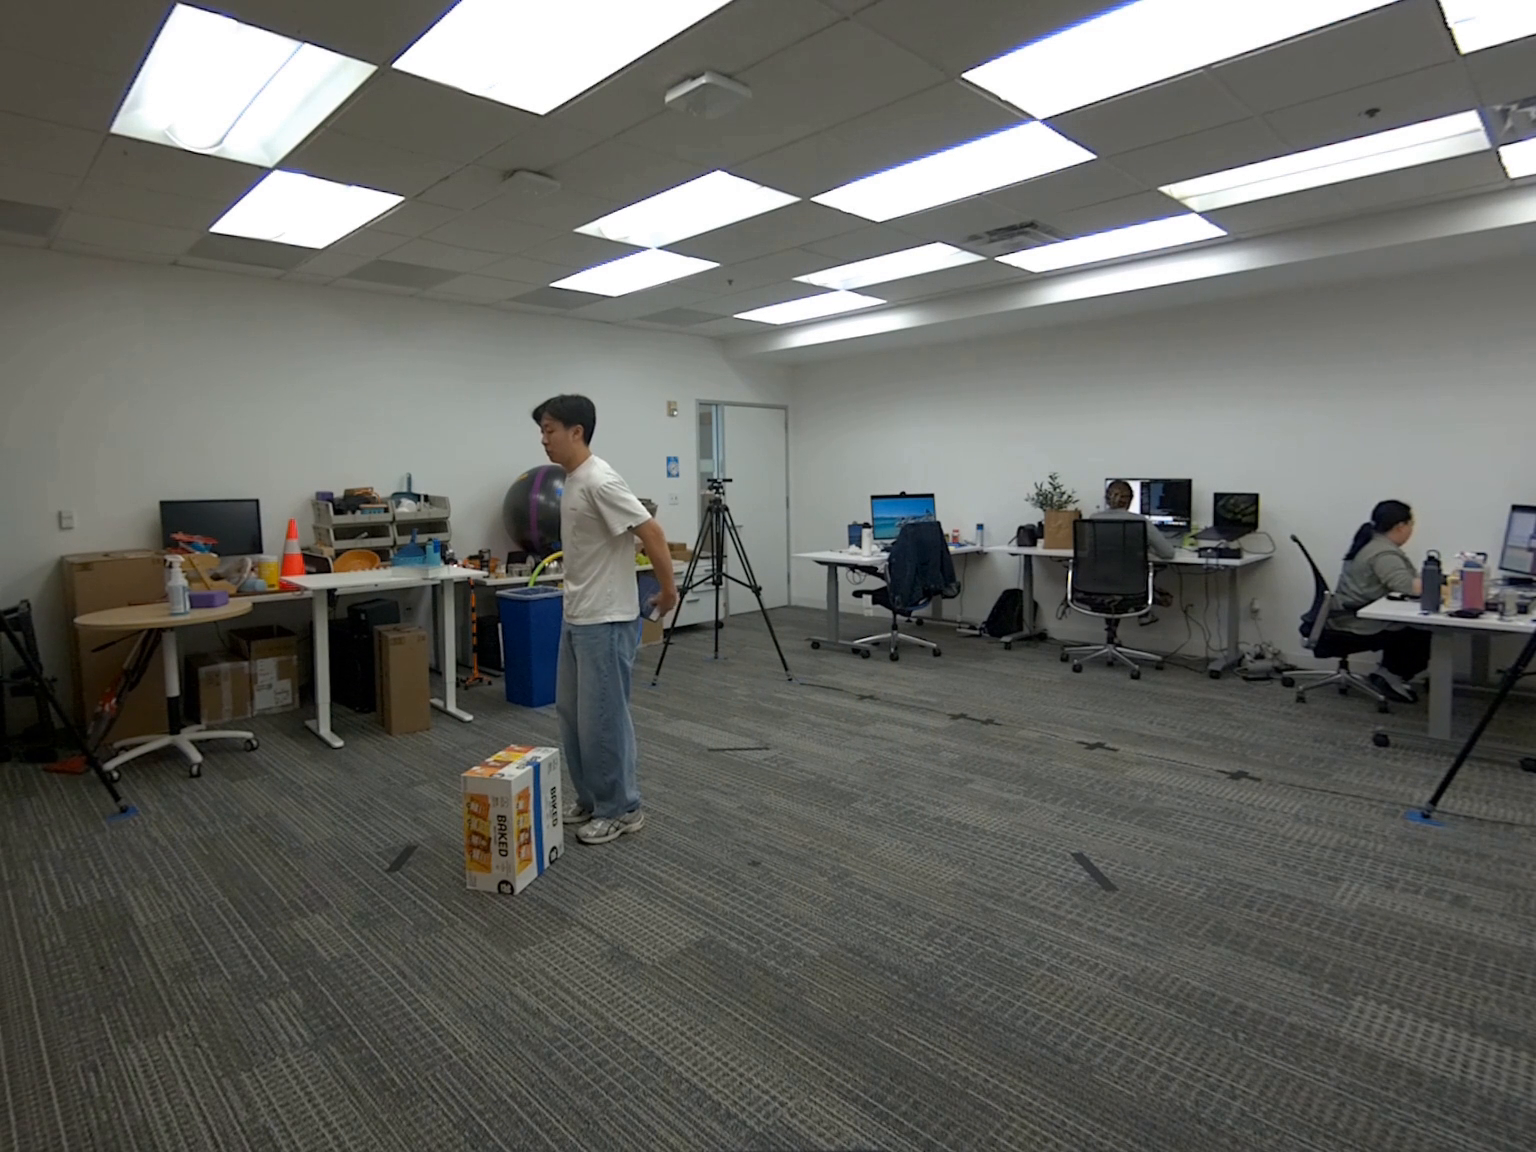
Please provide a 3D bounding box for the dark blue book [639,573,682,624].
[{"bbox_3d":[-0.476,0.087,3.489,0.043,0.164,0.253,41,-16,-34],"label":"dark blue book"}]
